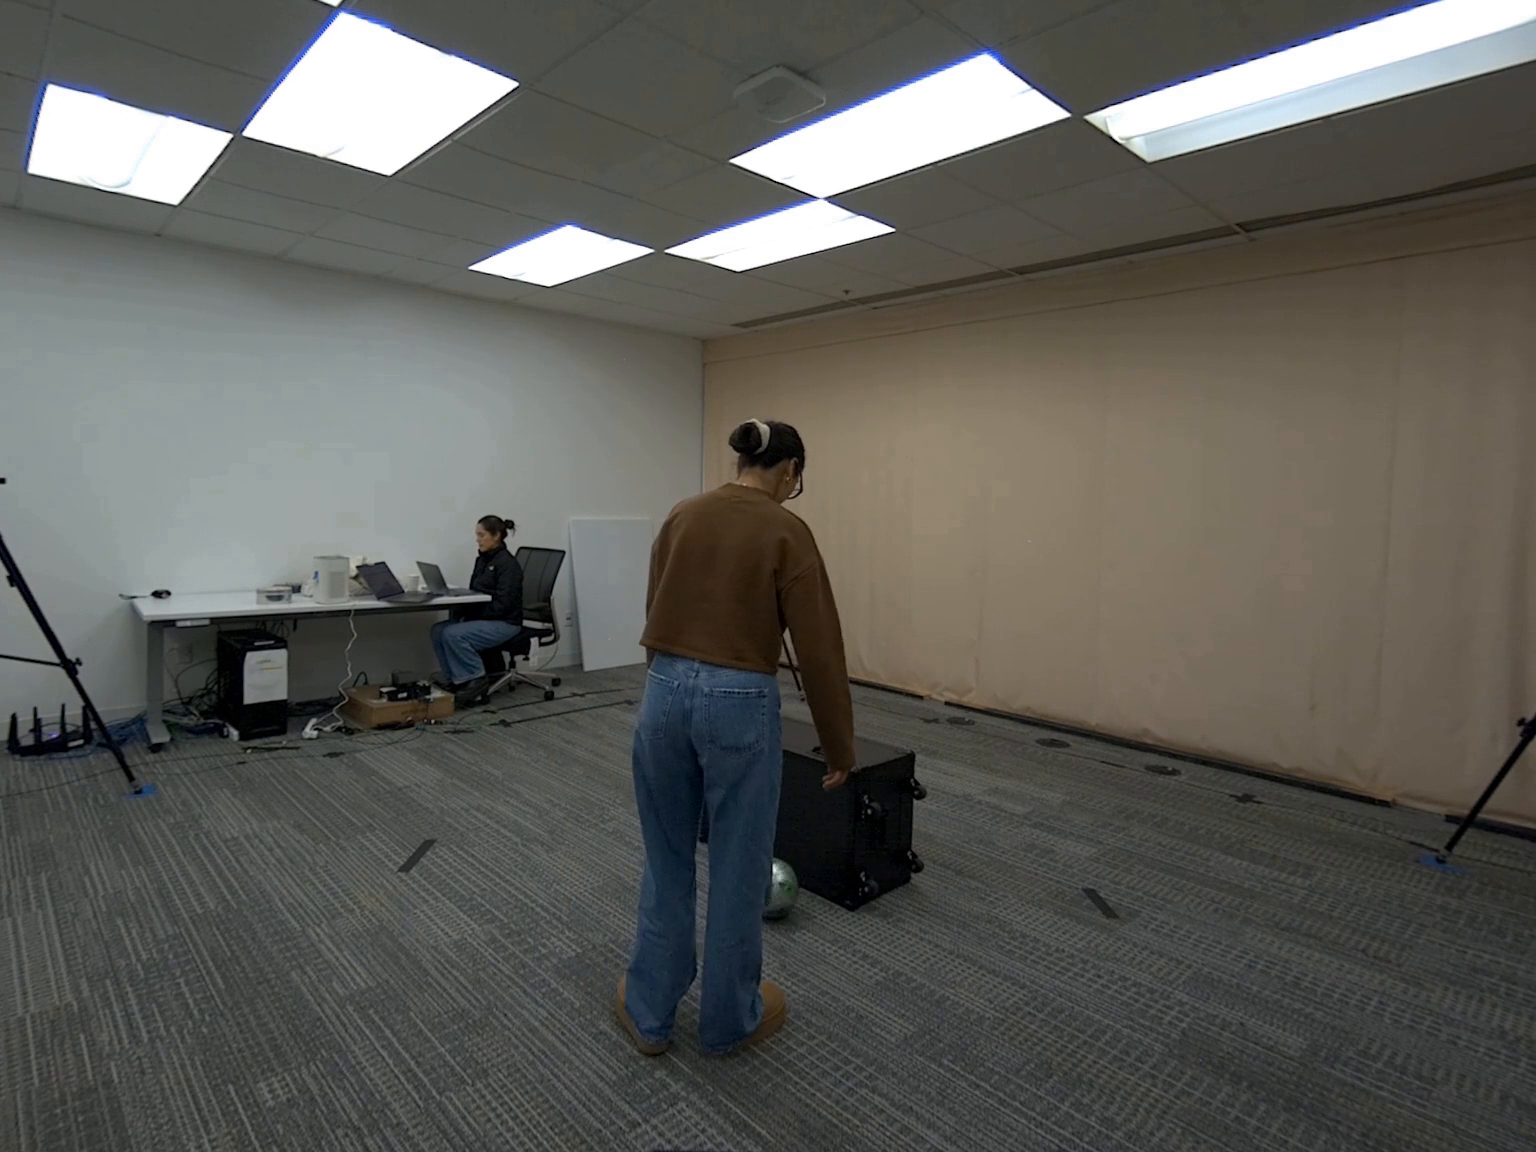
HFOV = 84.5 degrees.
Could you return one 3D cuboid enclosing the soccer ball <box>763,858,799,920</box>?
[{"bbox_3d":[-0.003,1.042,2.818,0.187,0.187,0.188,1,4,-1],"label":"soccer ball"}]
